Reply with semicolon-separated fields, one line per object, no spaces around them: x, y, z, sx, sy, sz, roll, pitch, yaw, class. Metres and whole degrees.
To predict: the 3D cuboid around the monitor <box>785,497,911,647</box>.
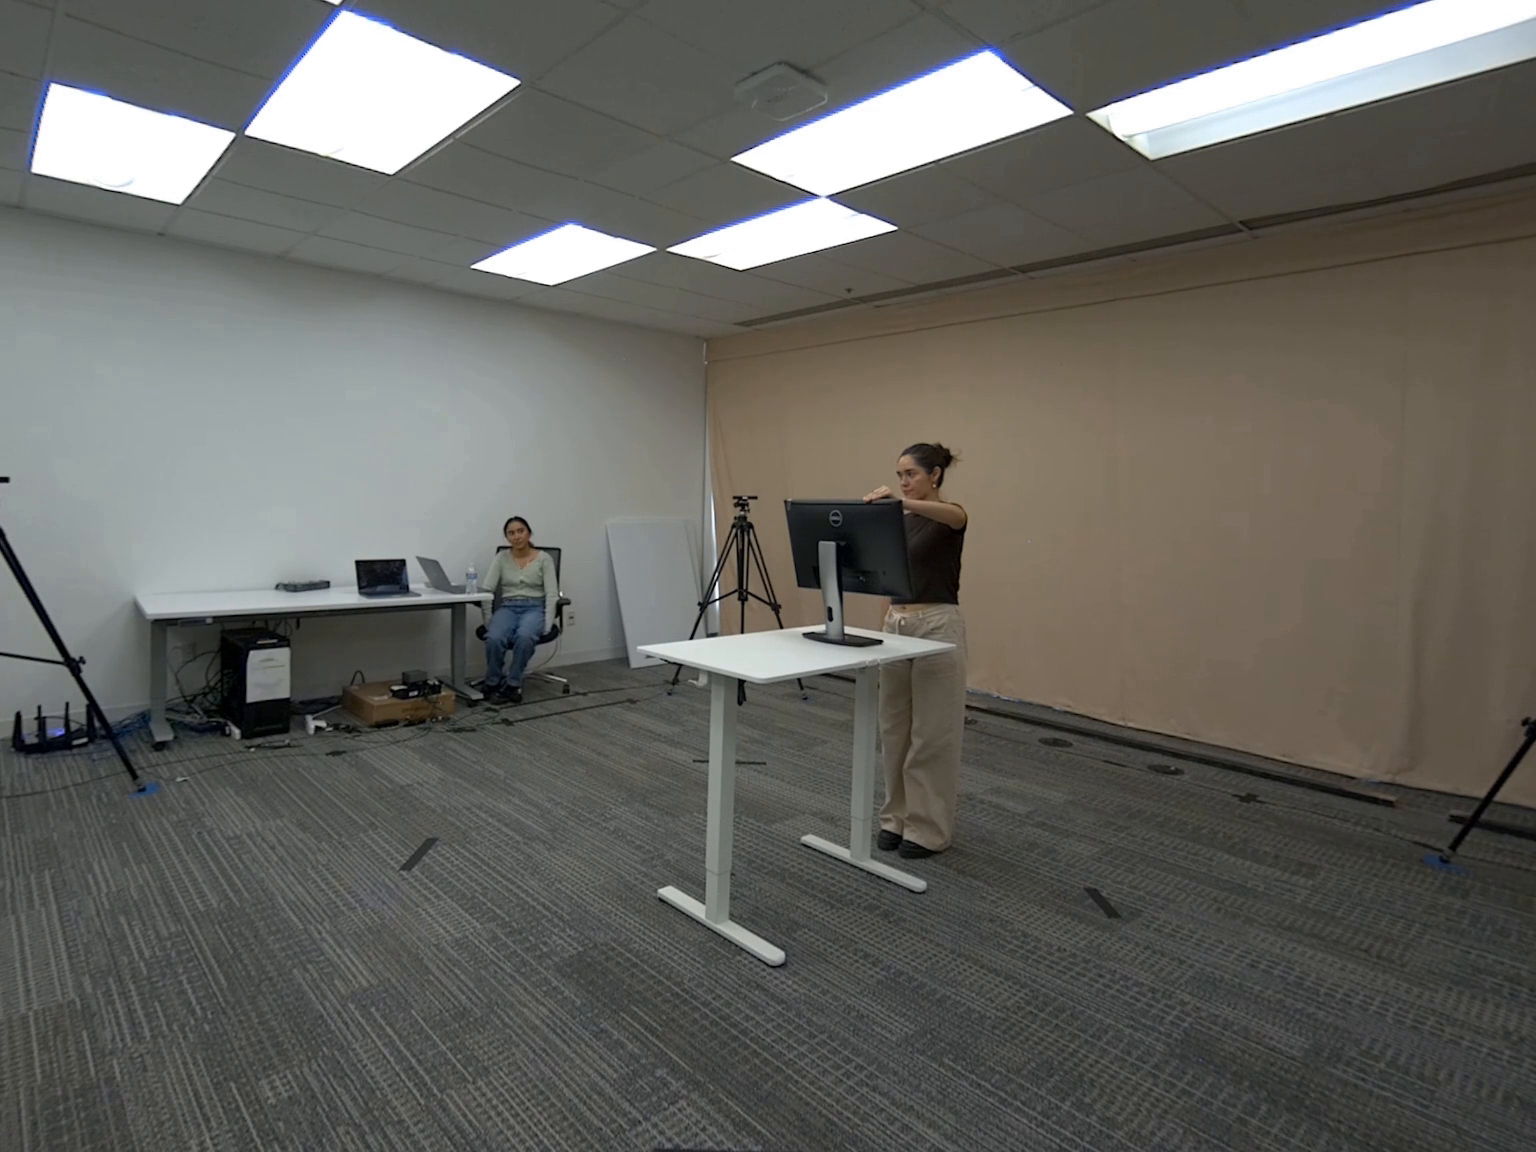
0.259;-0.013;3.043;0.553;0.520;0.183;5;7;44;monitor
